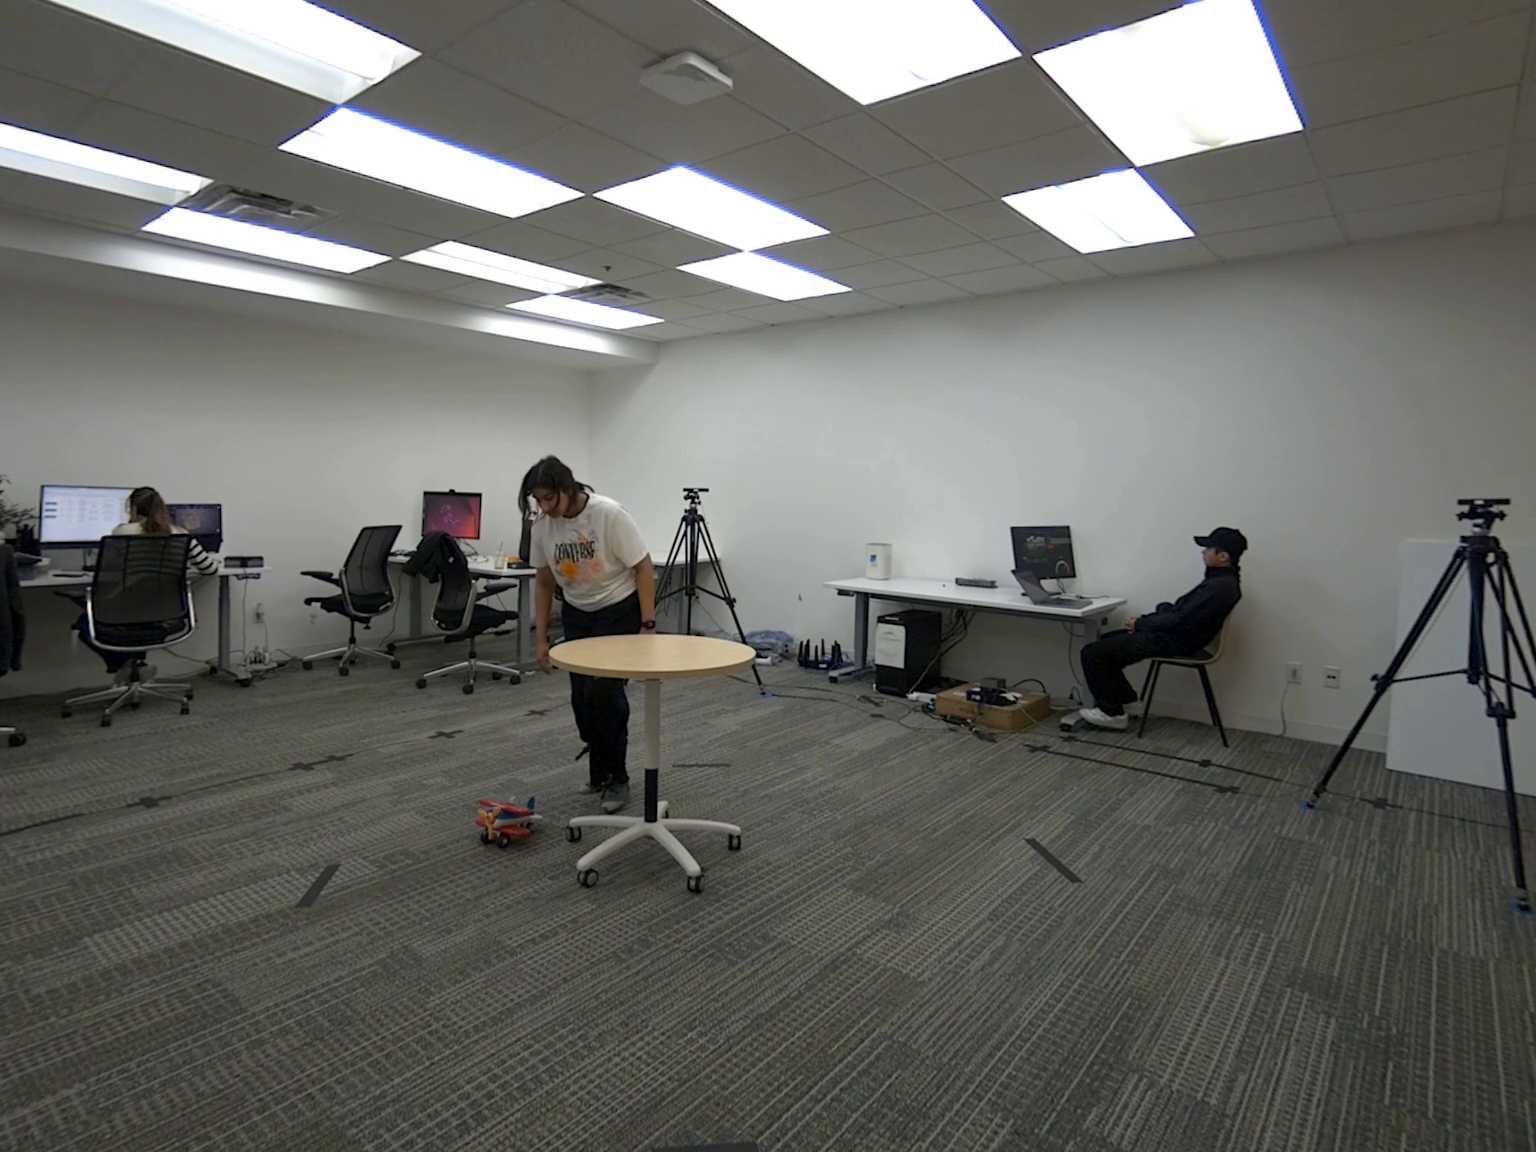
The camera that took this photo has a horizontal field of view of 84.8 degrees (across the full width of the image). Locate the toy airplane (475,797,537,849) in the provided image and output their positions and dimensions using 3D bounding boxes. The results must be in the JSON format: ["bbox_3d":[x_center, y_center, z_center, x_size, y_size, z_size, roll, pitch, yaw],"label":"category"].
[{"bbox_3d":[-1.048,0.954,3.364,0.252,0.156,0.260,0,5,1],"label":"toy airplane"}]
